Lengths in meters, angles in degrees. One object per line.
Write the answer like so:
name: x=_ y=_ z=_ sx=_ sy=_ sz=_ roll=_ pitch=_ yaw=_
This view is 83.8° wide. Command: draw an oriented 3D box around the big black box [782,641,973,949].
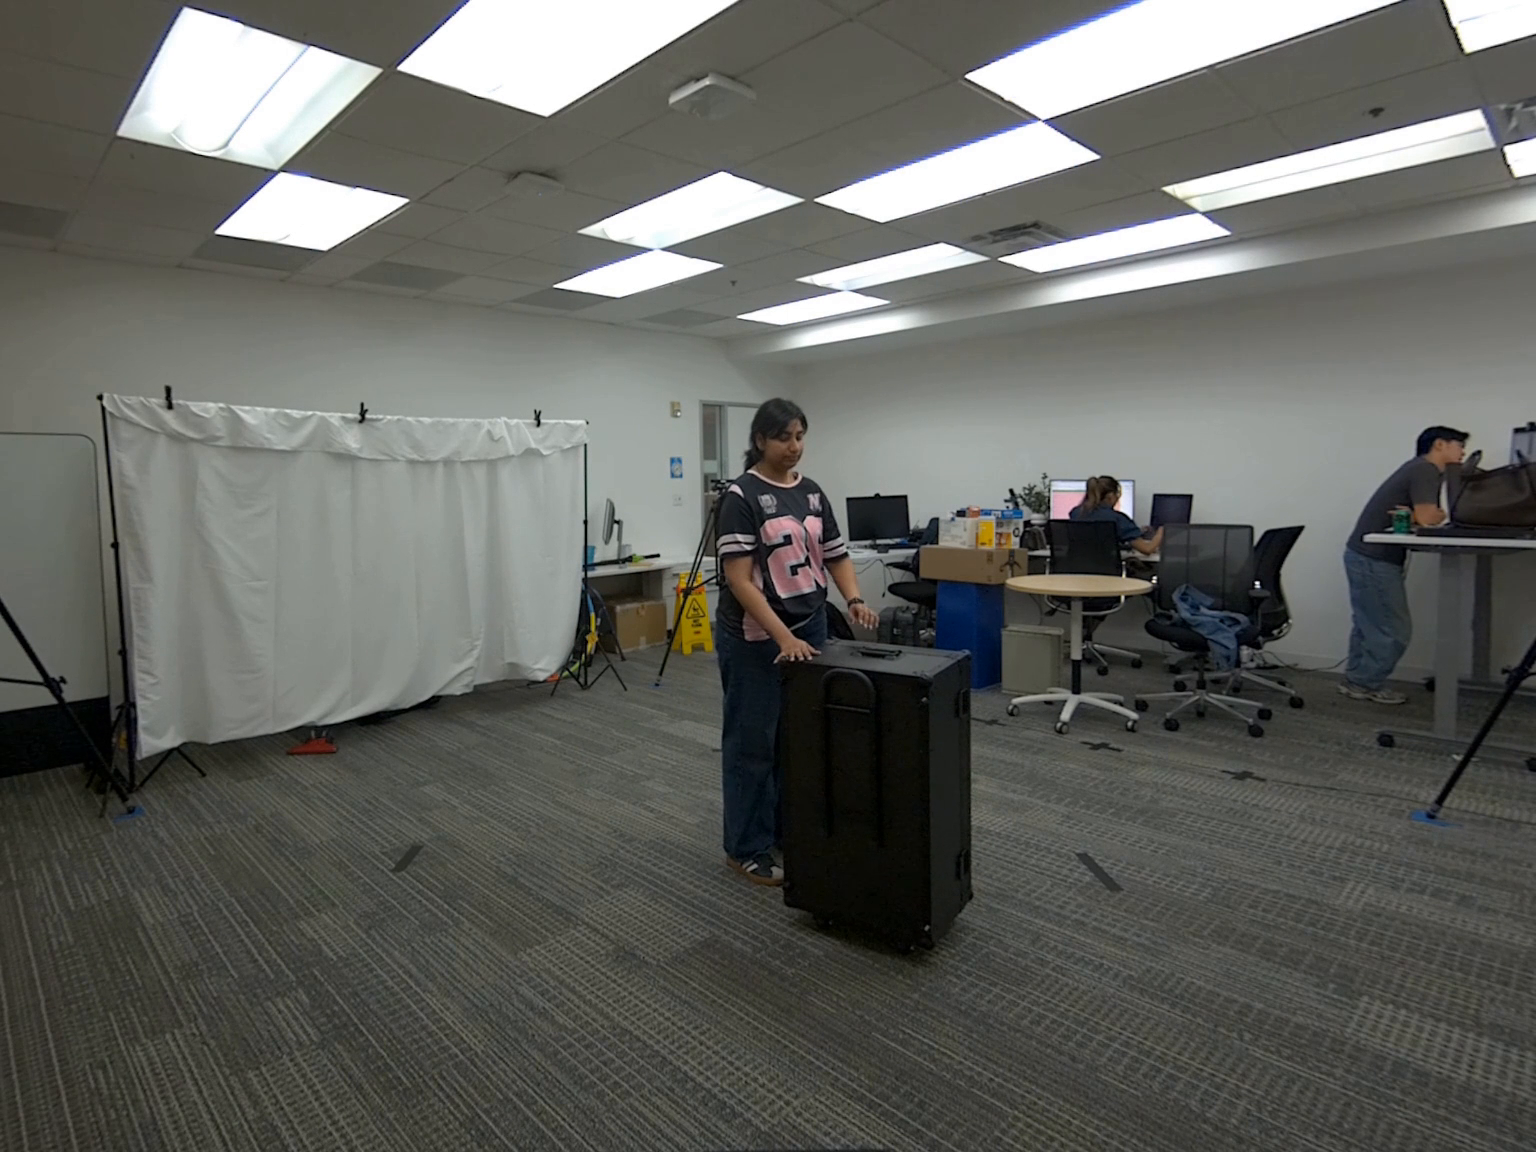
big black box: x=0.344 y=0.669 z=2.637 sx=0.537 sy=0.865 sz=0.376 roll=1 pitch=6 yaw=32
